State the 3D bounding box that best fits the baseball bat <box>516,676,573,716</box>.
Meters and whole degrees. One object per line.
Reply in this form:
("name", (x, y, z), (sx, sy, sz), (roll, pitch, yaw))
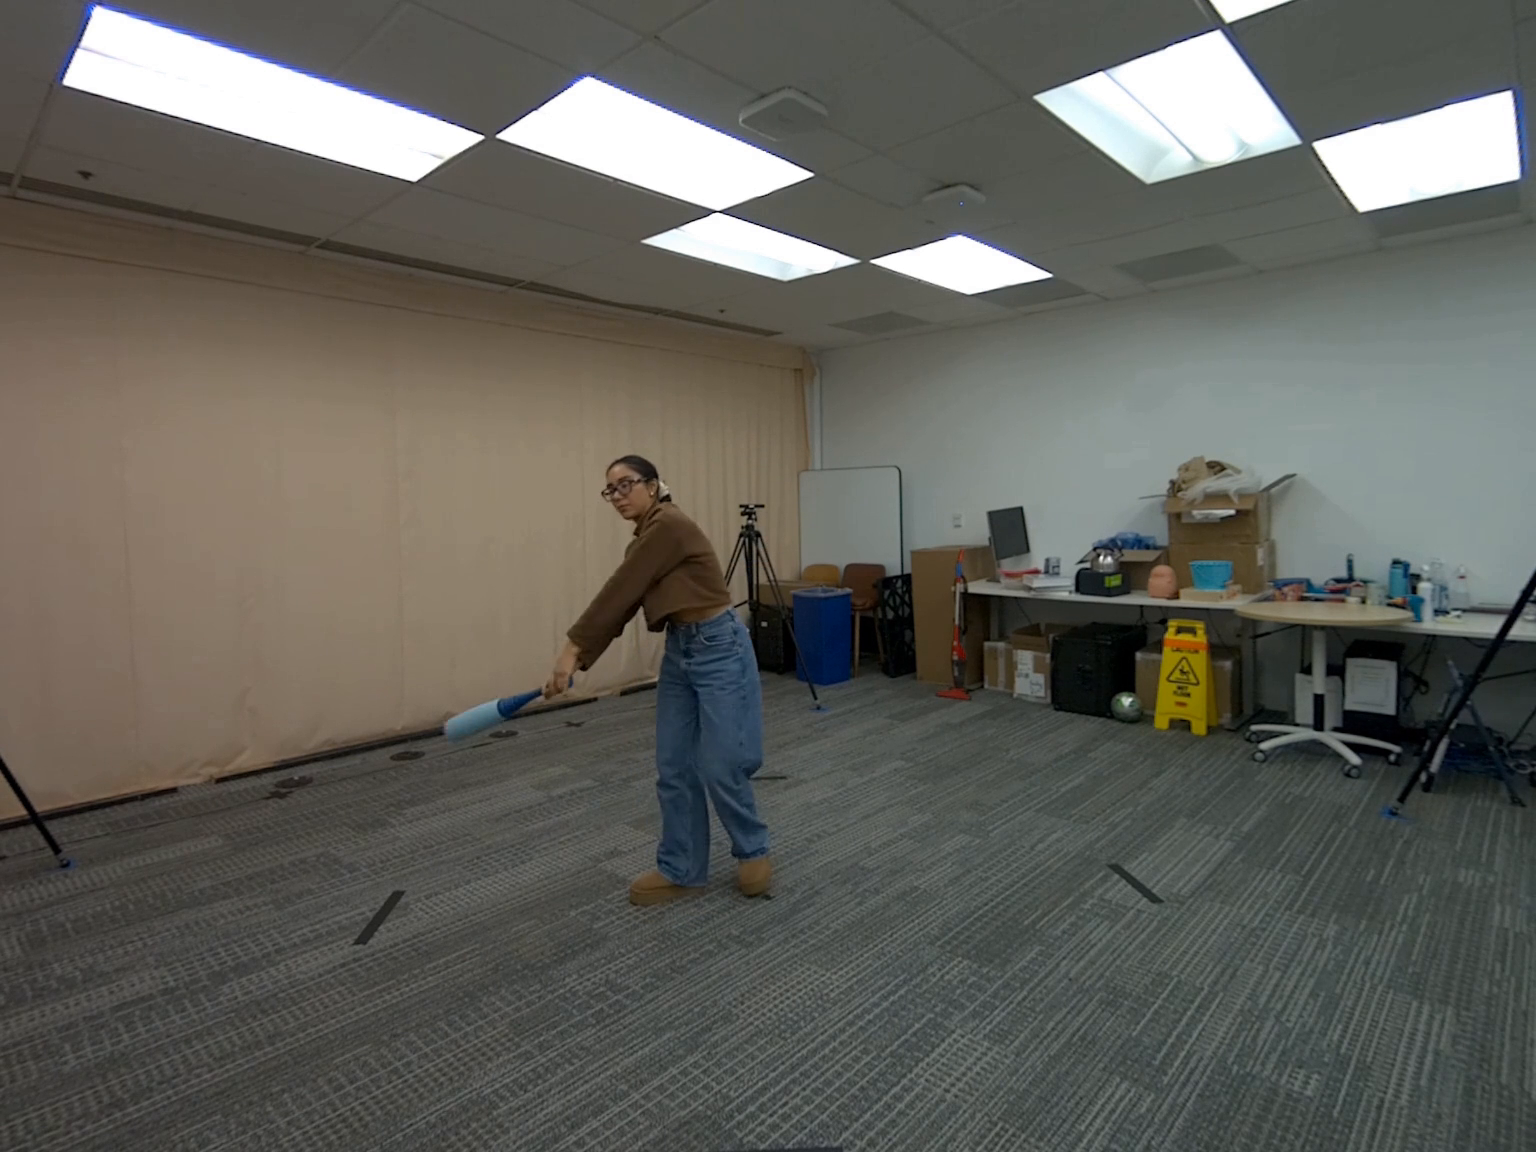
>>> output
("baseball bat", (-0.779, 0.406, 2.912), (0.087, 0.089, 0.554), (-2, -3, -25))
